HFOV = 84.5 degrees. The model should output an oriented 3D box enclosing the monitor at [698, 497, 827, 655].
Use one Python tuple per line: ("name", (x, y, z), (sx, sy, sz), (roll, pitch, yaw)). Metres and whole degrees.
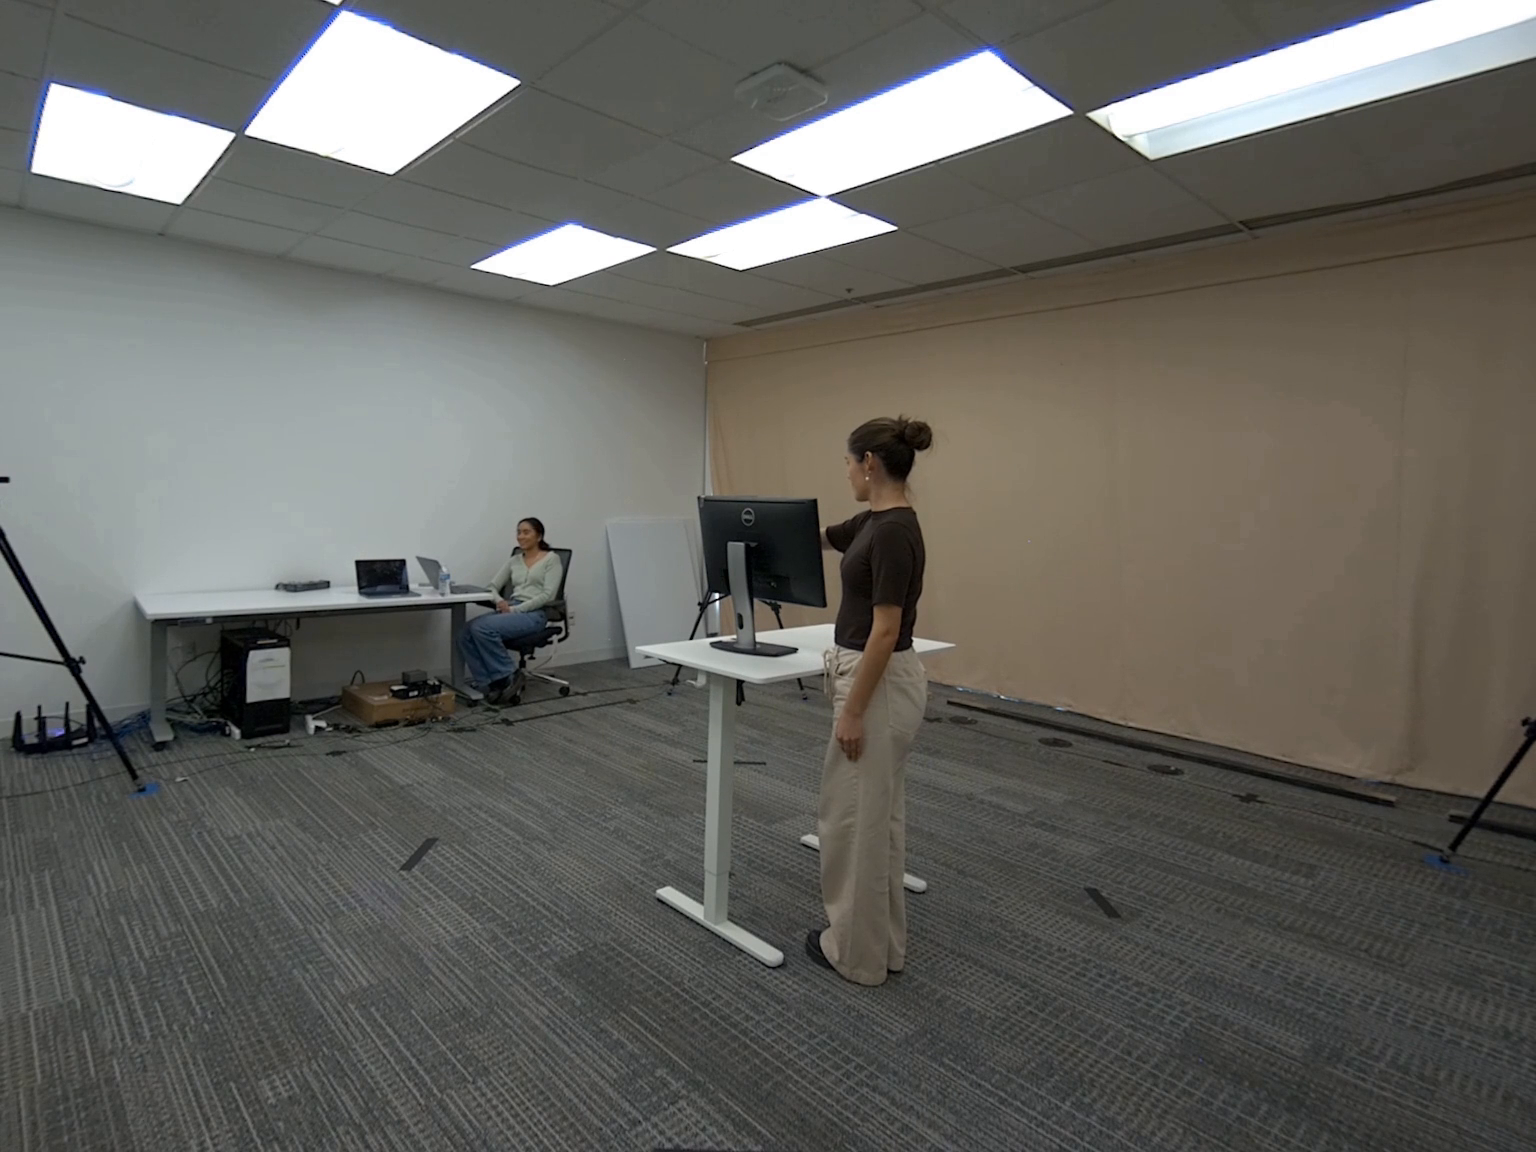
("monitor", (-0.060, -0.001, 2.804), (0.553, 0.521, 0.183), (5, 4, 43))
